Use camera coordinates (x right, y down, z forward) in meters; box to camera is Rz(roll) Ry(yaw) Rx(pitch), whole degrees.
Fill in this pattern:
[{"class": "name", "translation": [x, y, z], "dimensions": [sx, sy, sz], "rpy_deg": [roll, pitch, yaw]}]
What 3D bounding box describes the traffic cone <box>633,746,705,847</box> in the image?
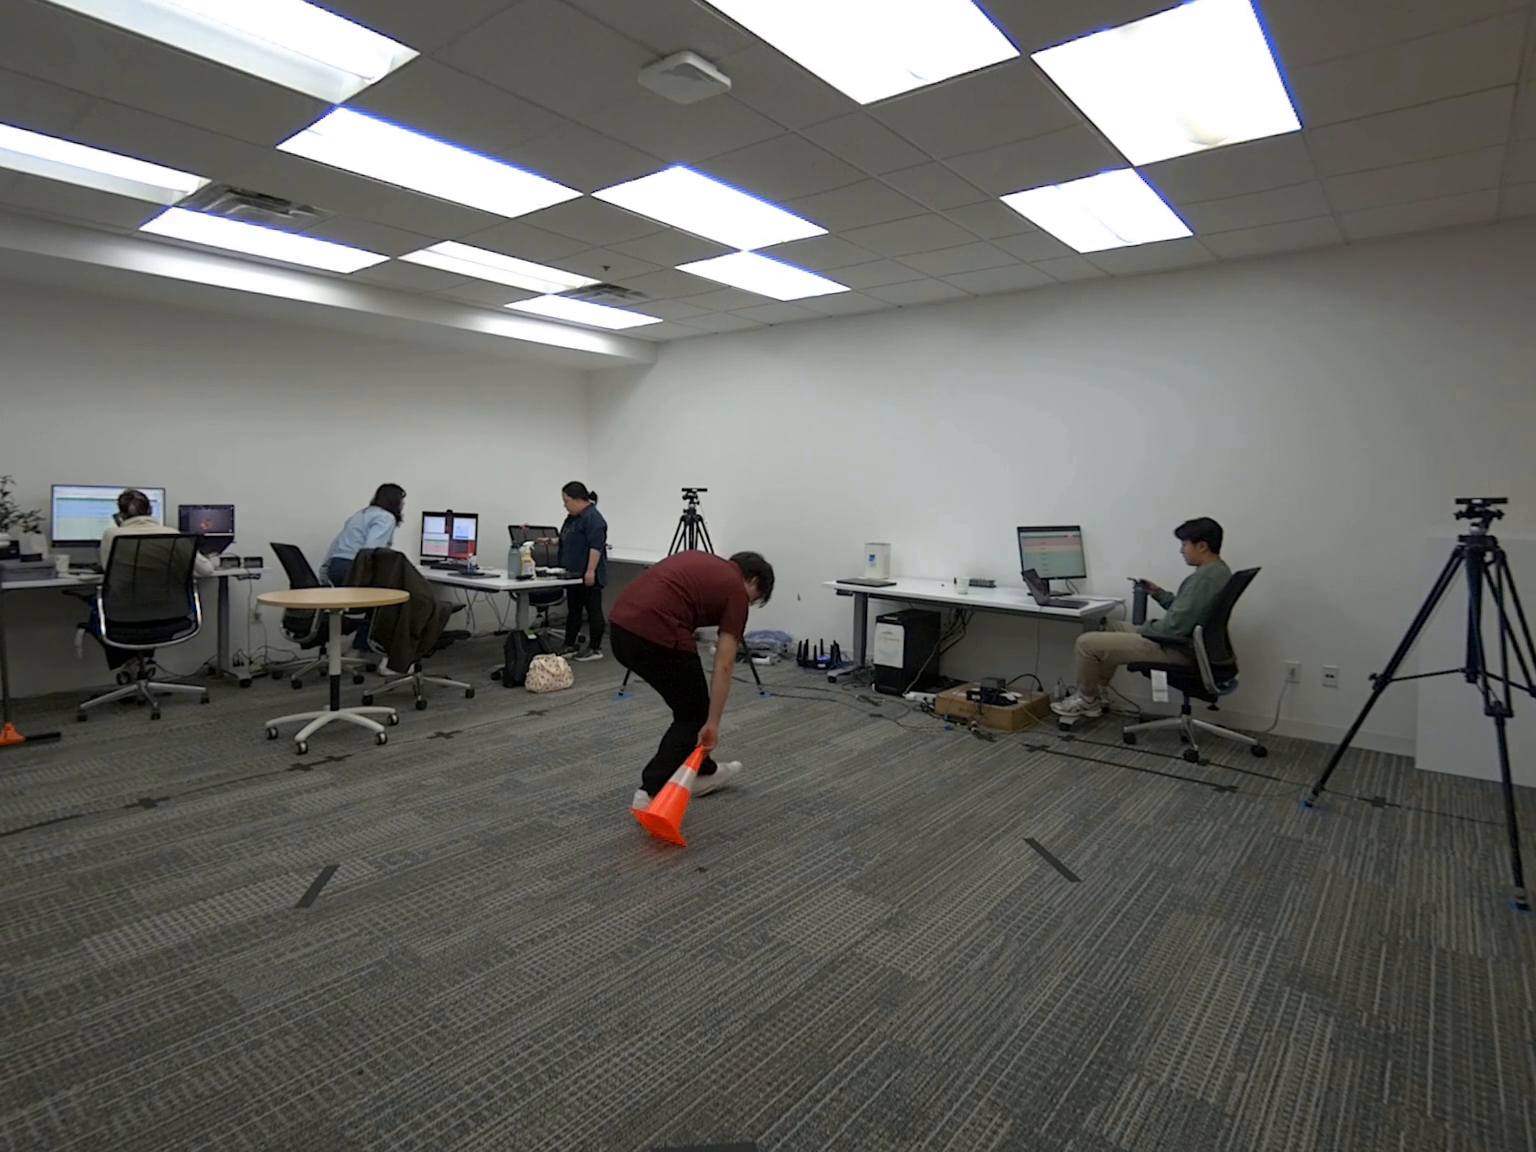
[{"class": "traffic cone", "translation": [-0.372, 0.848, 3.424], "dimensions": [0.210, 0.196, 0.387], "rpy_deg": [-4, 41, 32]}]
